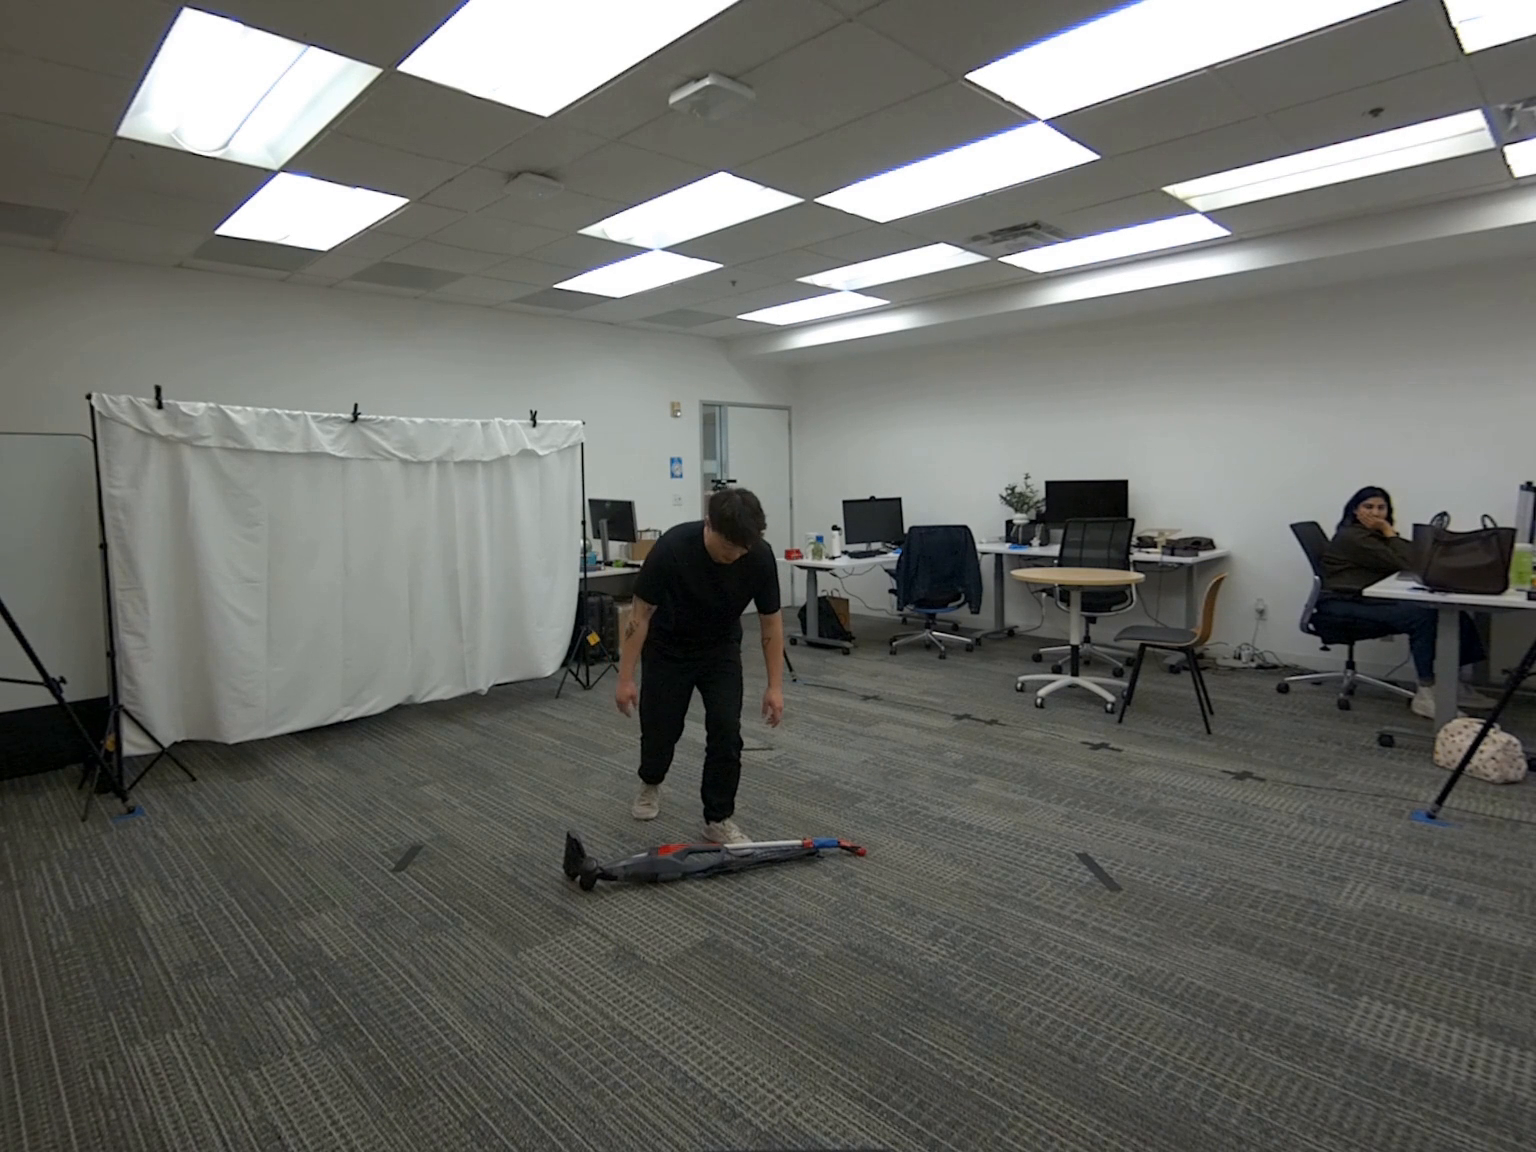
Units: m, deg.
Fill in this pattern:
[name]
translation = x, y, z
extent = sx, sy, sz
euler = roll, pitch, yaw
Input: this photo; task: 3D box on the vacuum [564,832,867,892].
[vacuum]
translation = -0.156, 1.006, 3.048
extent = 1.035, 0.248, 0.149
euler = 2, 41, -13
